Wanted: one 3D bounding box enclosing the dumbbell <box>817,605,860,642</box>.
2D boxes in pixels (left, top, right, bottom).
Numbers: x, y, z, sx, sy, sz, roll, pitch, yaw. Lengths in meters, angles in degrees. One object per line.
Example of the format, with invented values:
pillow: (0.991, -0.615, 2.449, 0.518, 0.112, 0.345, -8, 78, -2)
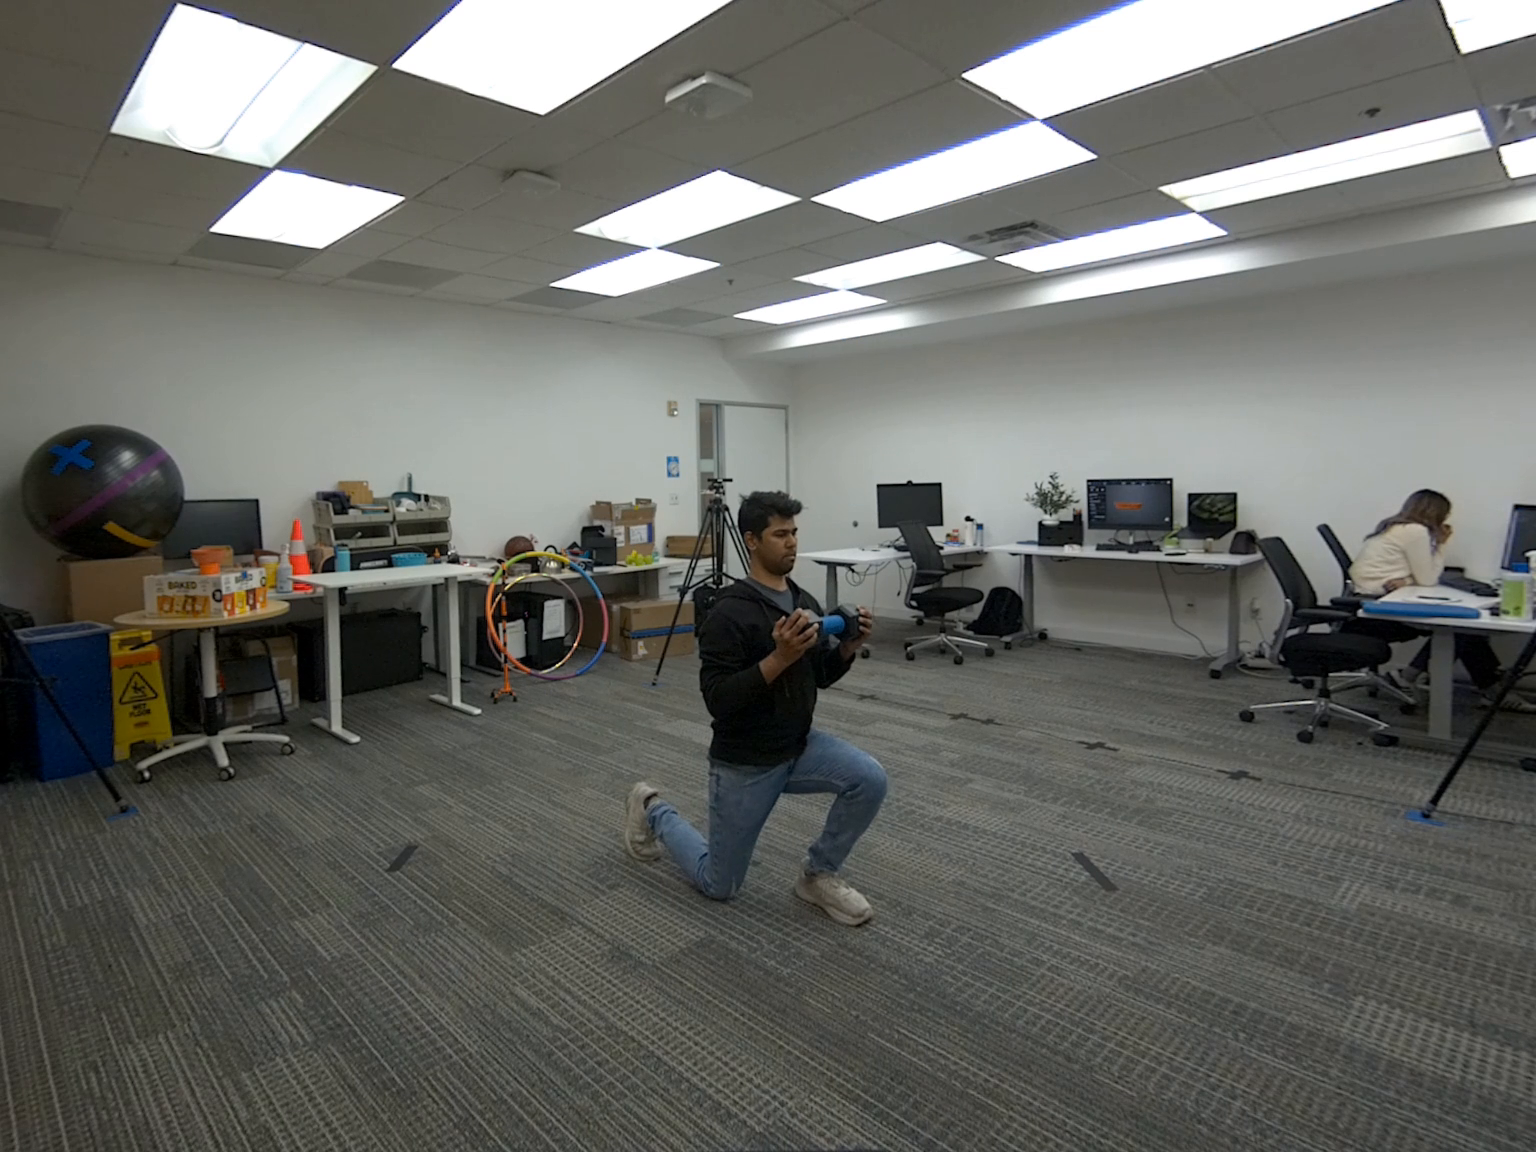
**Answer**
dumbbell: (0.164, 0.153, 2.704, 0.112, 0.122, 0.285, 7, 6, 40)
